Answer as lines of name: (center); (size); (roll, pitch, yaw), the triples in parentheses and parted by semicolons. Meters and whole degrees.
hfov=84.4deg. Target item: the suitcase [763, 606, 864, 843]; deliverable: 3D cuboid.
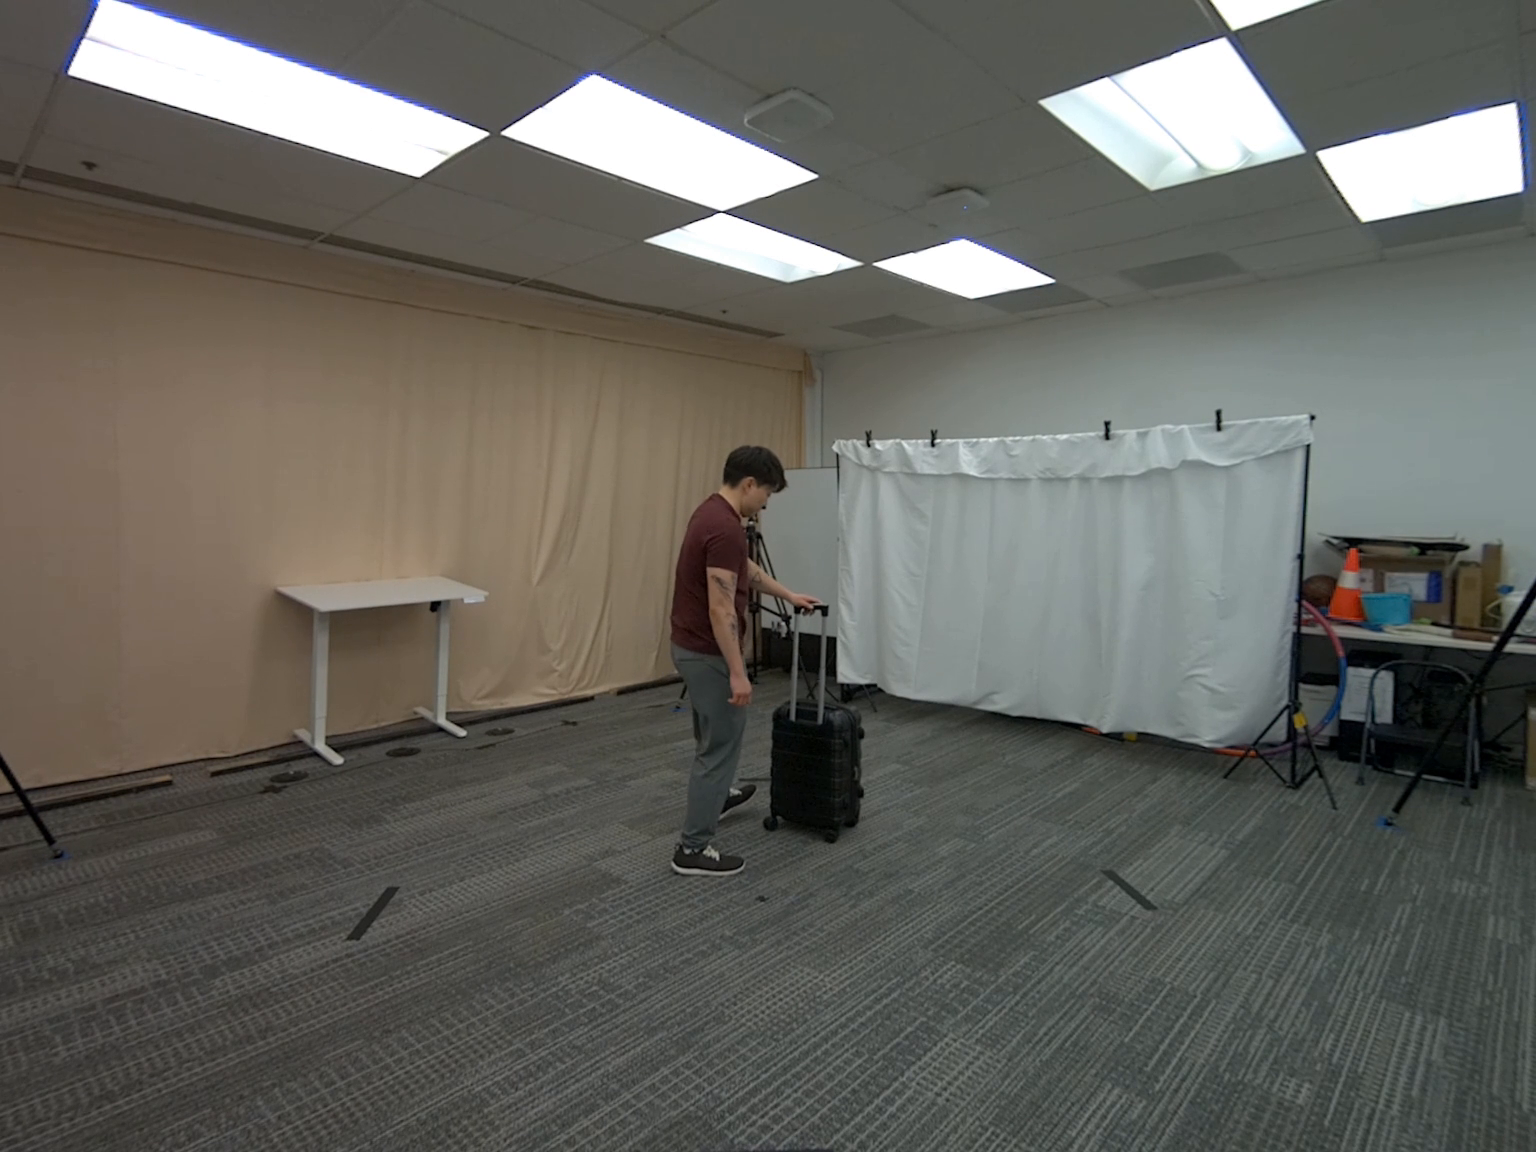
suitcase: (0.211, 0.612, 3.638); (0.395, 0.978, 0.250); (2, 1, 31)
